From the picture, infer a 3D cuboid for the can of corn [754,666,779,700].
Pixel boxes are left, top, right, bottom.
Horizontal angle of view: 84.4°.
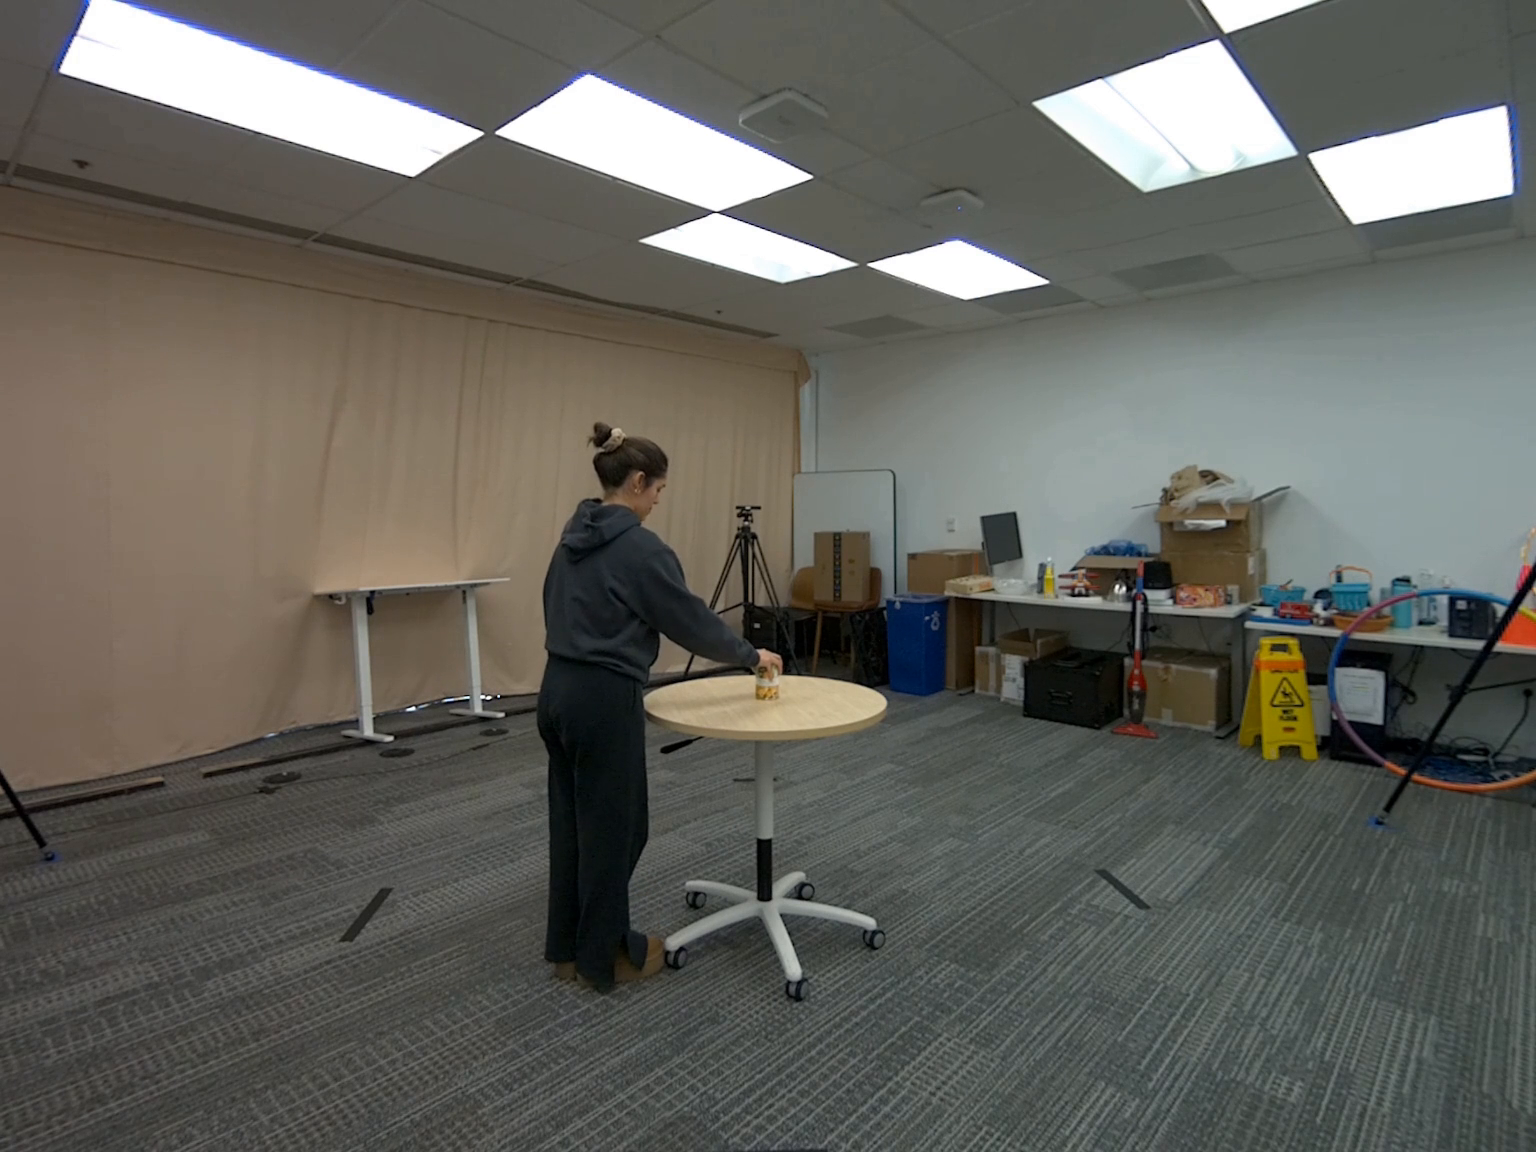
[{"bbox_3d":[0.006,0.333,2.652,0.074,0.110,0.075,-4,9,-1],"label":"can of corn"}]
